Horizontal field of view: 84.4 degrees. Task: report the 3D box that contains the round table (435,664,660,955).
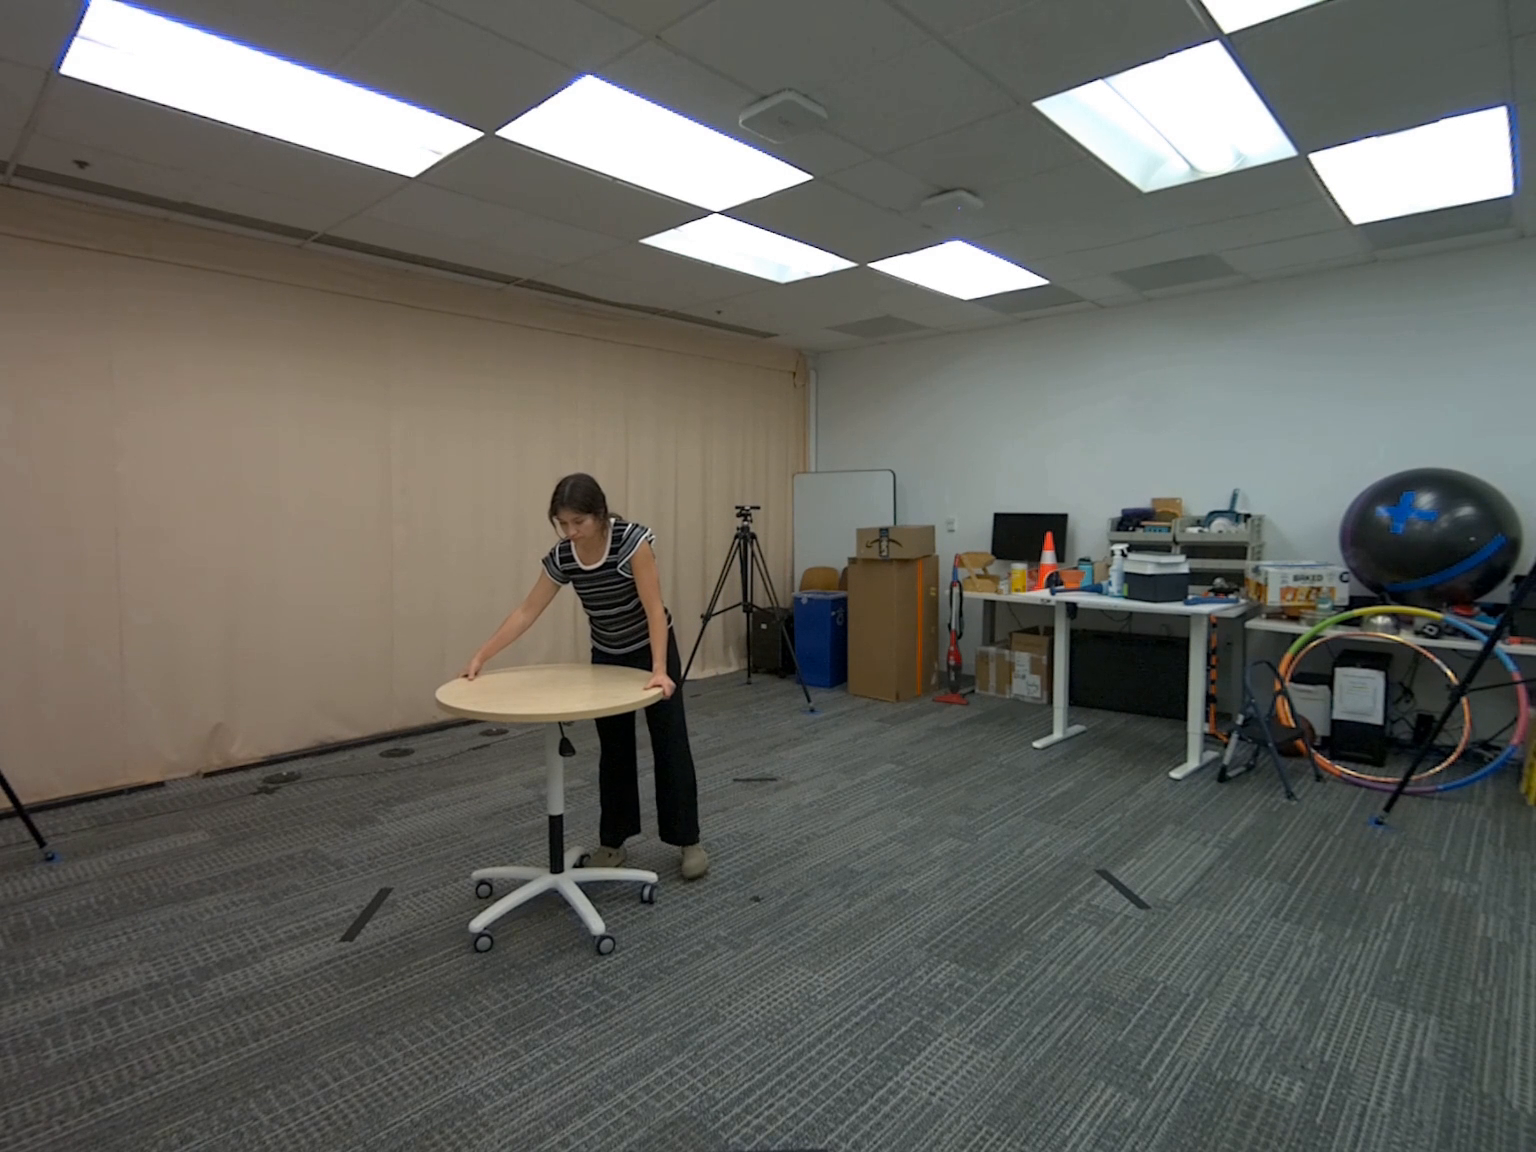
[{"bbox_3d":[-0.728,0.769,2.871,0.763,0.792,0.766,0,3,-2],"label":"round table"}]
